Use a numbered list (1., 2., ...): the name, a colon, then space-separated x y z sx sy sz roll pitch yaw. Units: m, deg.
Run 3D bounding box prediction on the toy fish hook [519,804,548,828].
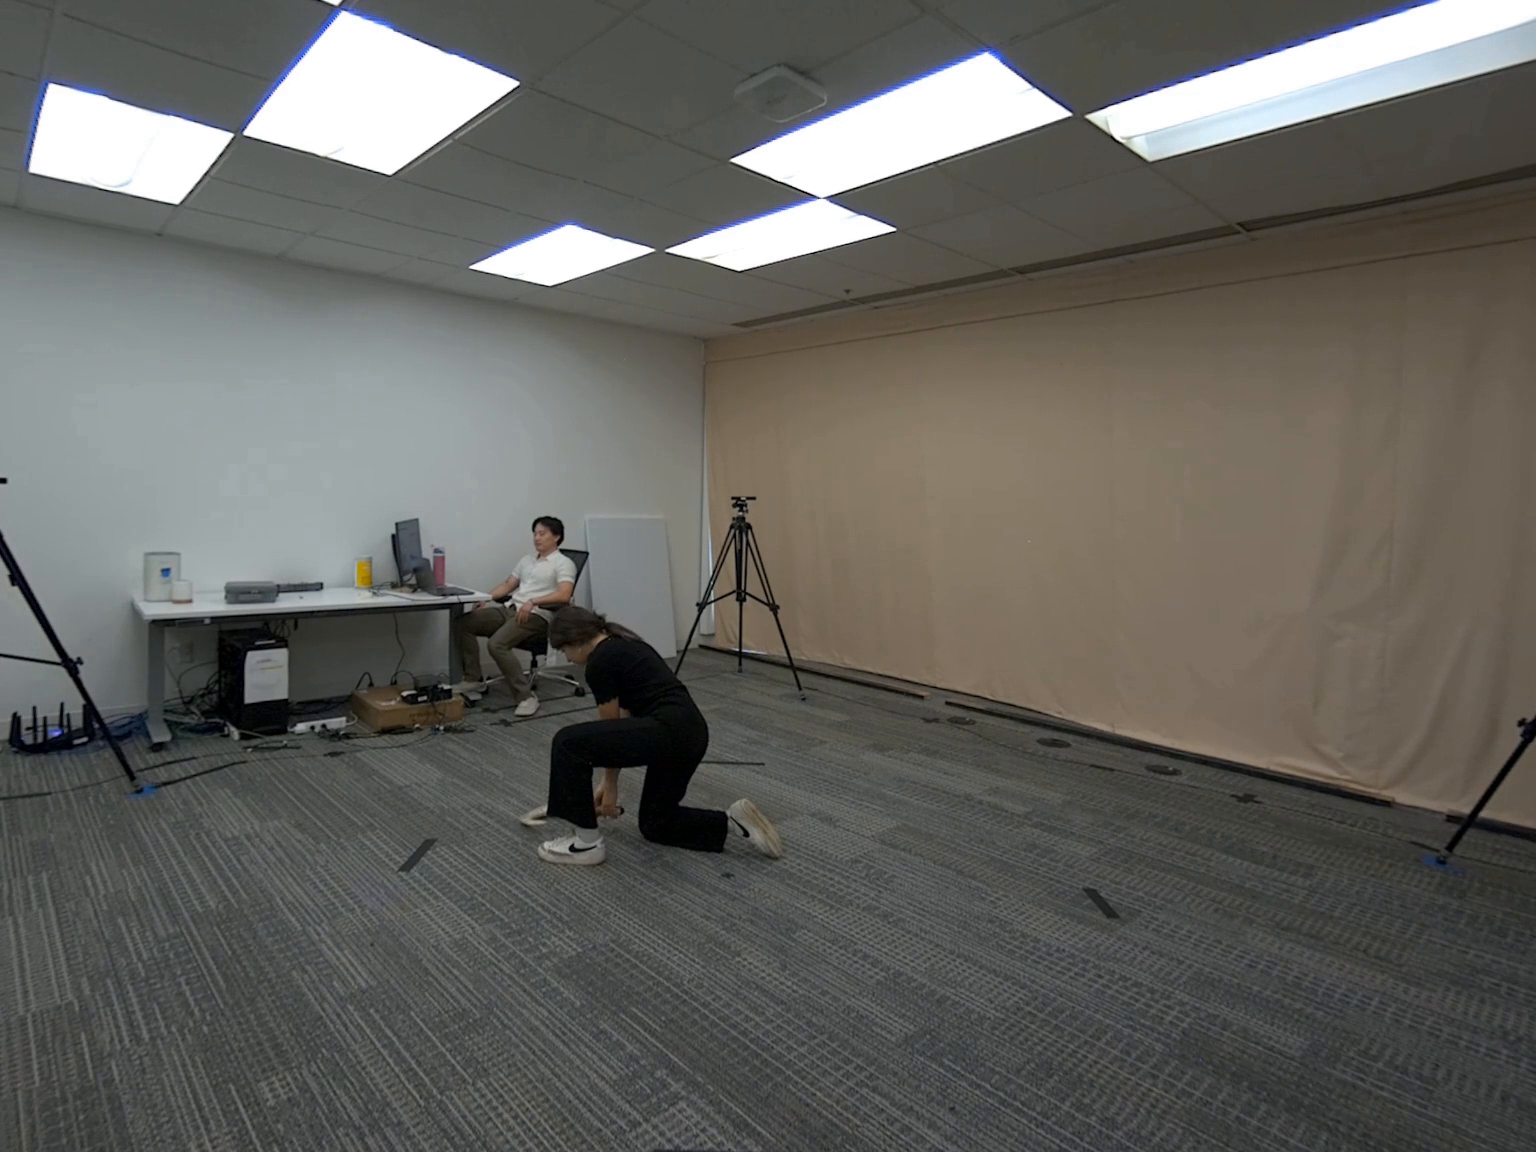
1. toy fish hook: -0.818 0.988 3.477 0.515 0.048 0.221 -10 5 33
